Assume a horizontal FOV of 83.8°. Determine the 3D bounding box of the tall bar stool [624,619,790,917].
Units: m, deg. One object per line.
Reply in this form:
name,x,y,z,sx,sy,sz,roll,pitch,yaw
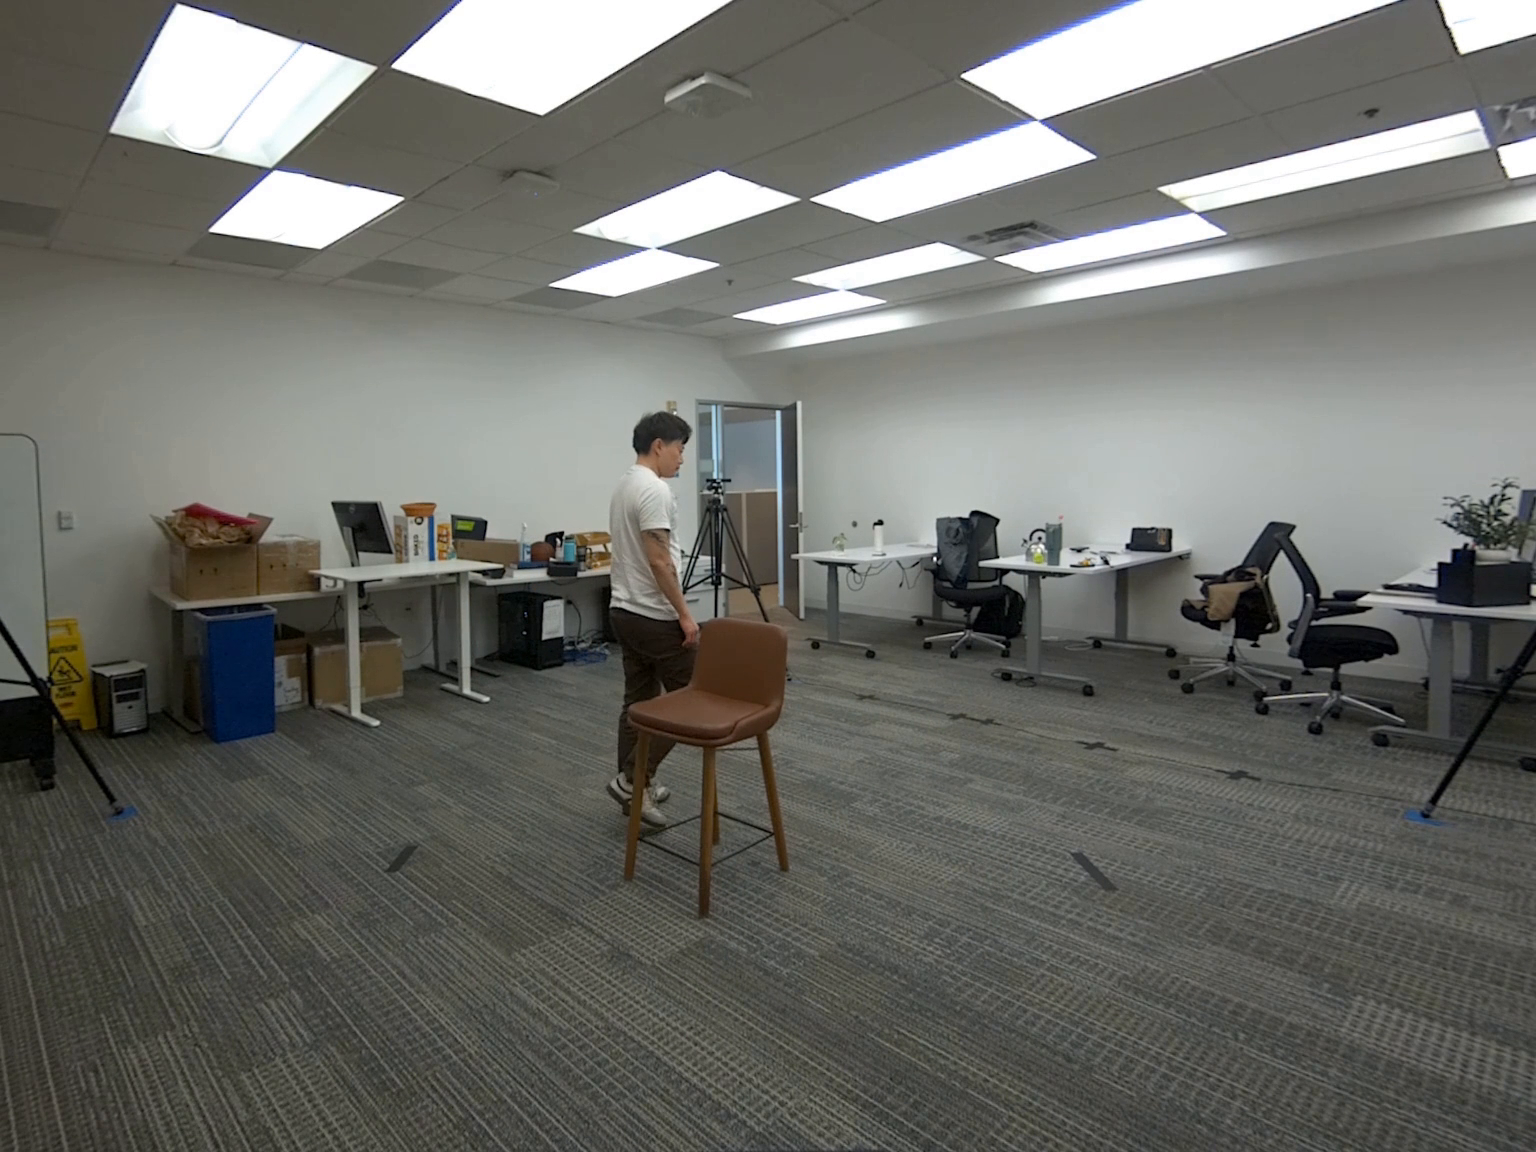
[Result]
tall bar stool,-0.209,0.626,2.995,0.470,0.888,0.455,3,4,42
